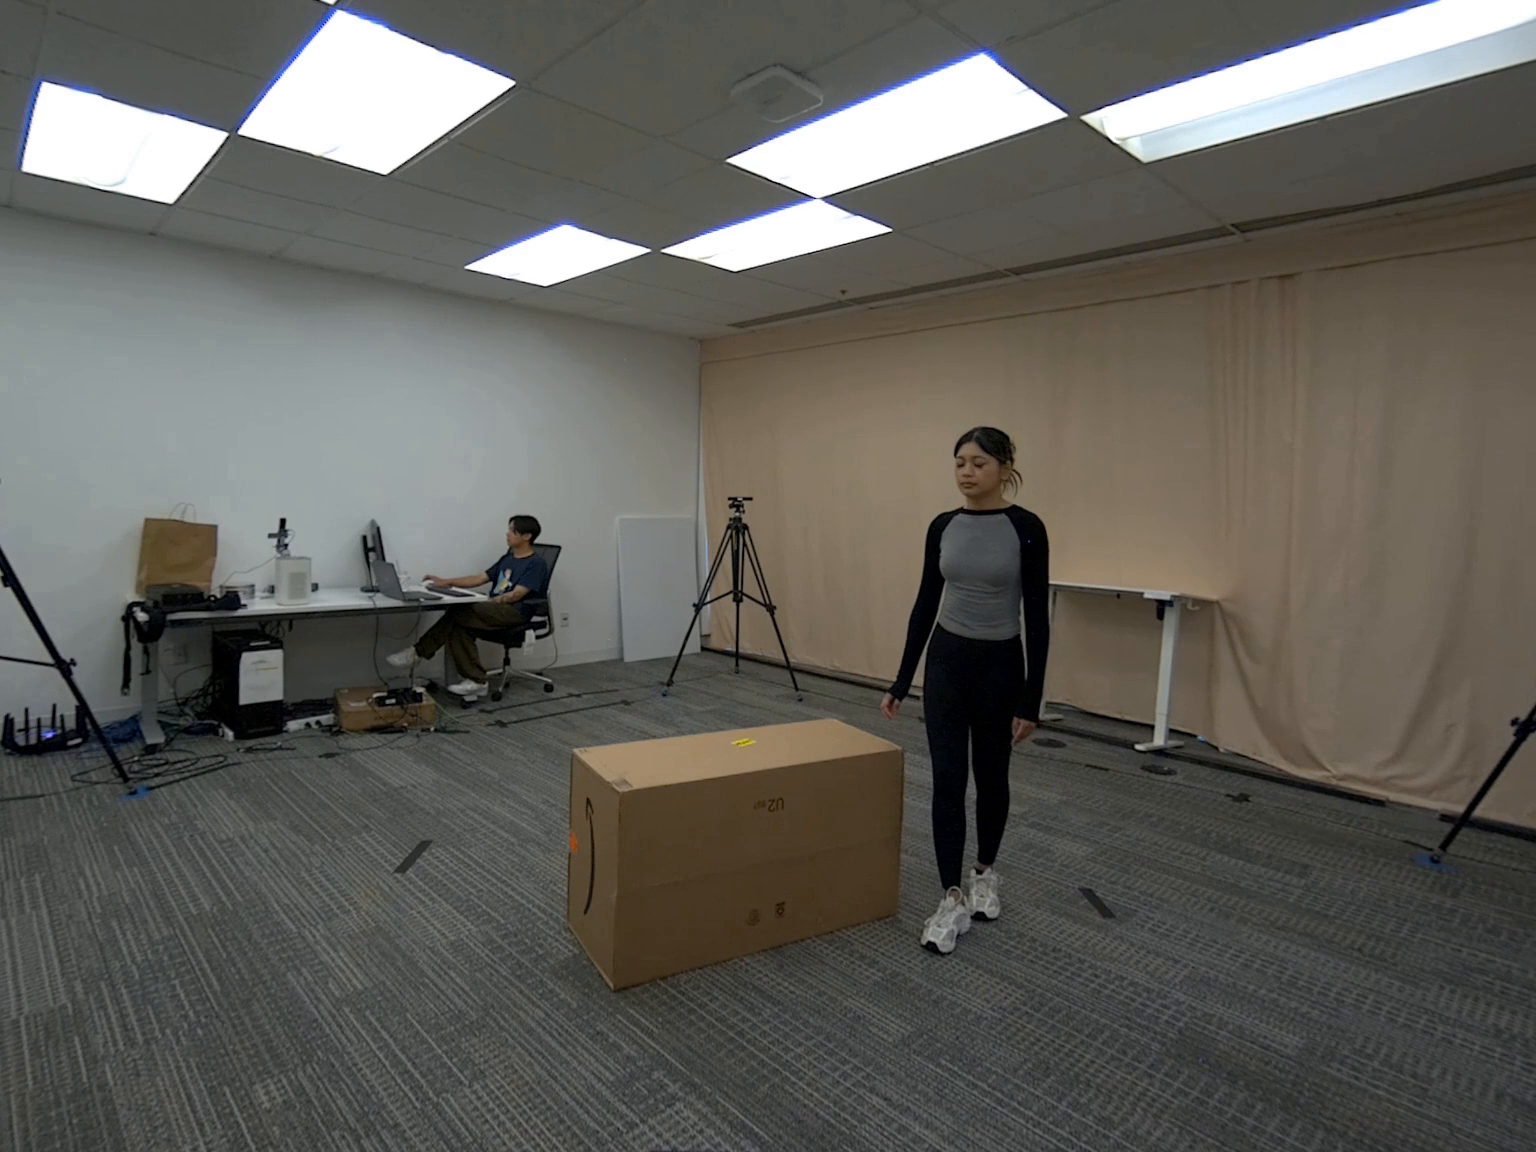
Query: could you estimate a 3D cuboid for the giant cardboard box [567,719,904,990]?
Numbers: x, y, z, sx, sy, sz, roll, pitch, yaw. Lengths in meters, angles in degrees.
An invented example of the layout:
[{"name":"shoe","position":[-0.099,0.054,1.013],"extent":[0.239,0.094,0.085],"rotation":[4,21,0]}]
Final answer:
[{"name":"giant cardboard box","position":[-0.103,0.854,2.770],"extent":[1.005,0.576,0.436],"rotation":[-1,5,-30]}]
